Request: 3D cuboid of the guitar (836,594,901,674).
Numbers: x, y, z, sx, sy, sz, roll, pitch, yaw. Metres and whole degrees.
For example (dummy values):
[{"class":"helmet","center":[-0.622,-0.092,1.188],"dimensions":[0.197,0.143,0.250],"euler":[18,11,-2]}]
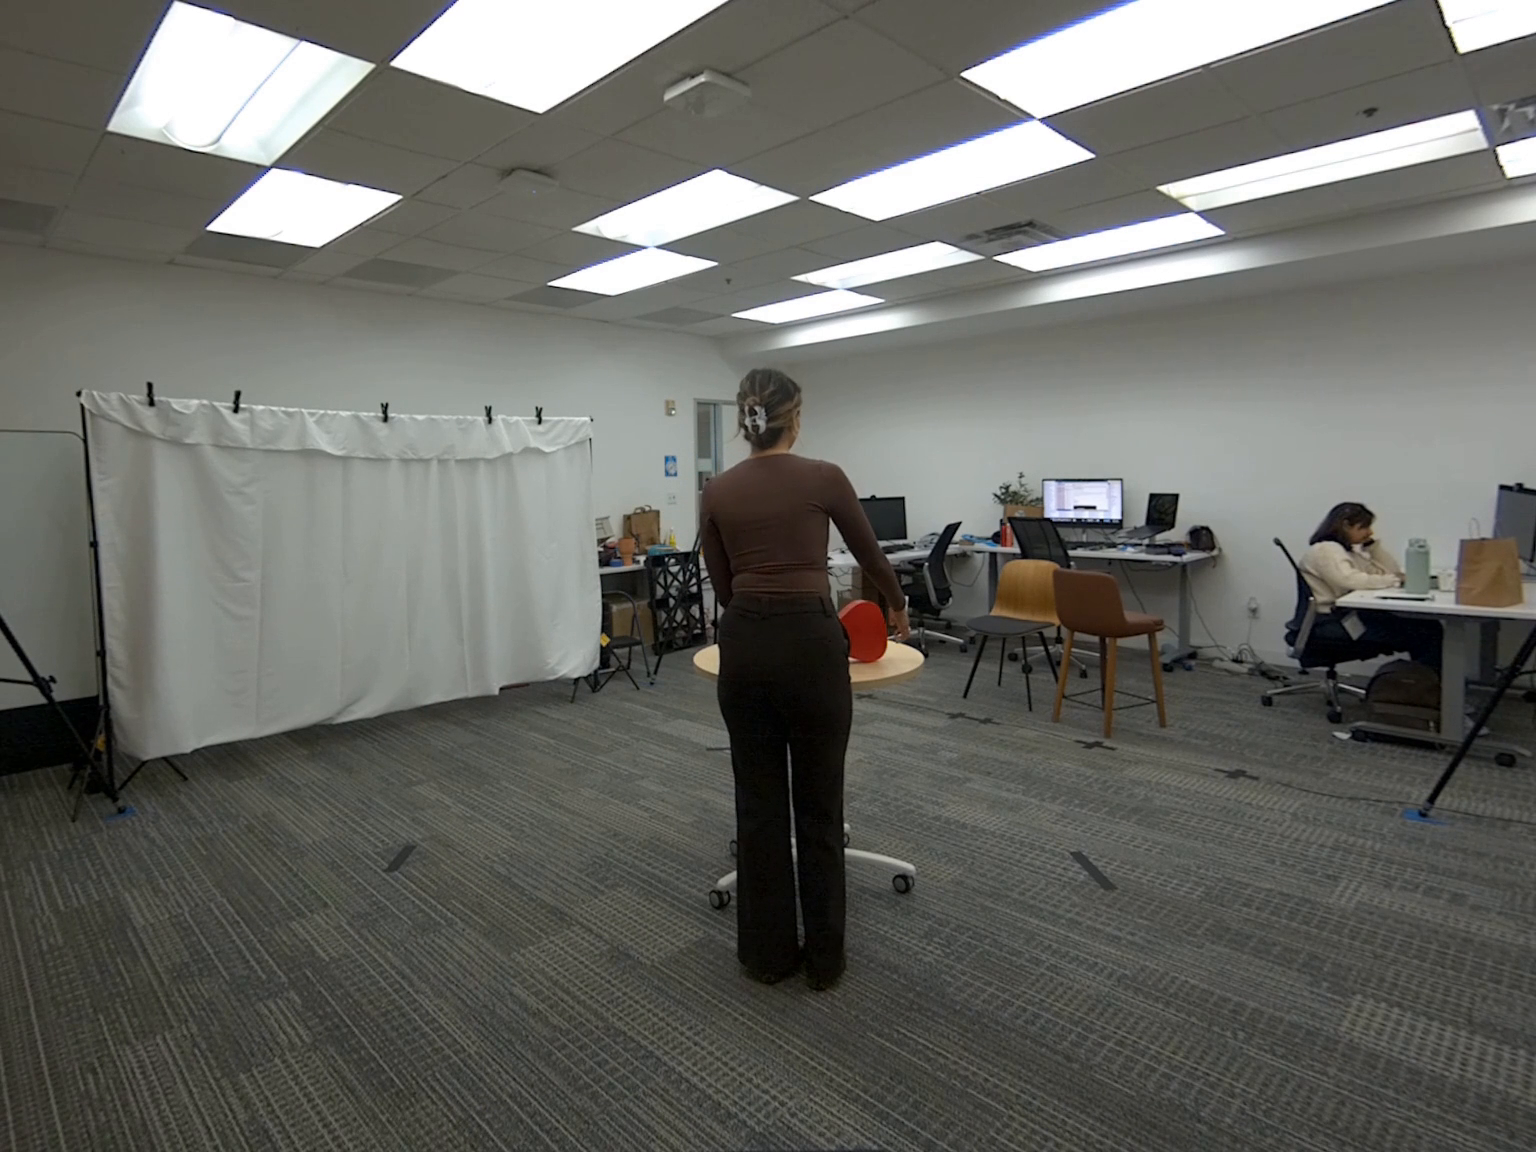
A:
[{"class":"guitar","center":[0.155,0.240,2.736],"dimensions":[0.495,0.191,0.071],"euler":[-20,6,-9]}]
